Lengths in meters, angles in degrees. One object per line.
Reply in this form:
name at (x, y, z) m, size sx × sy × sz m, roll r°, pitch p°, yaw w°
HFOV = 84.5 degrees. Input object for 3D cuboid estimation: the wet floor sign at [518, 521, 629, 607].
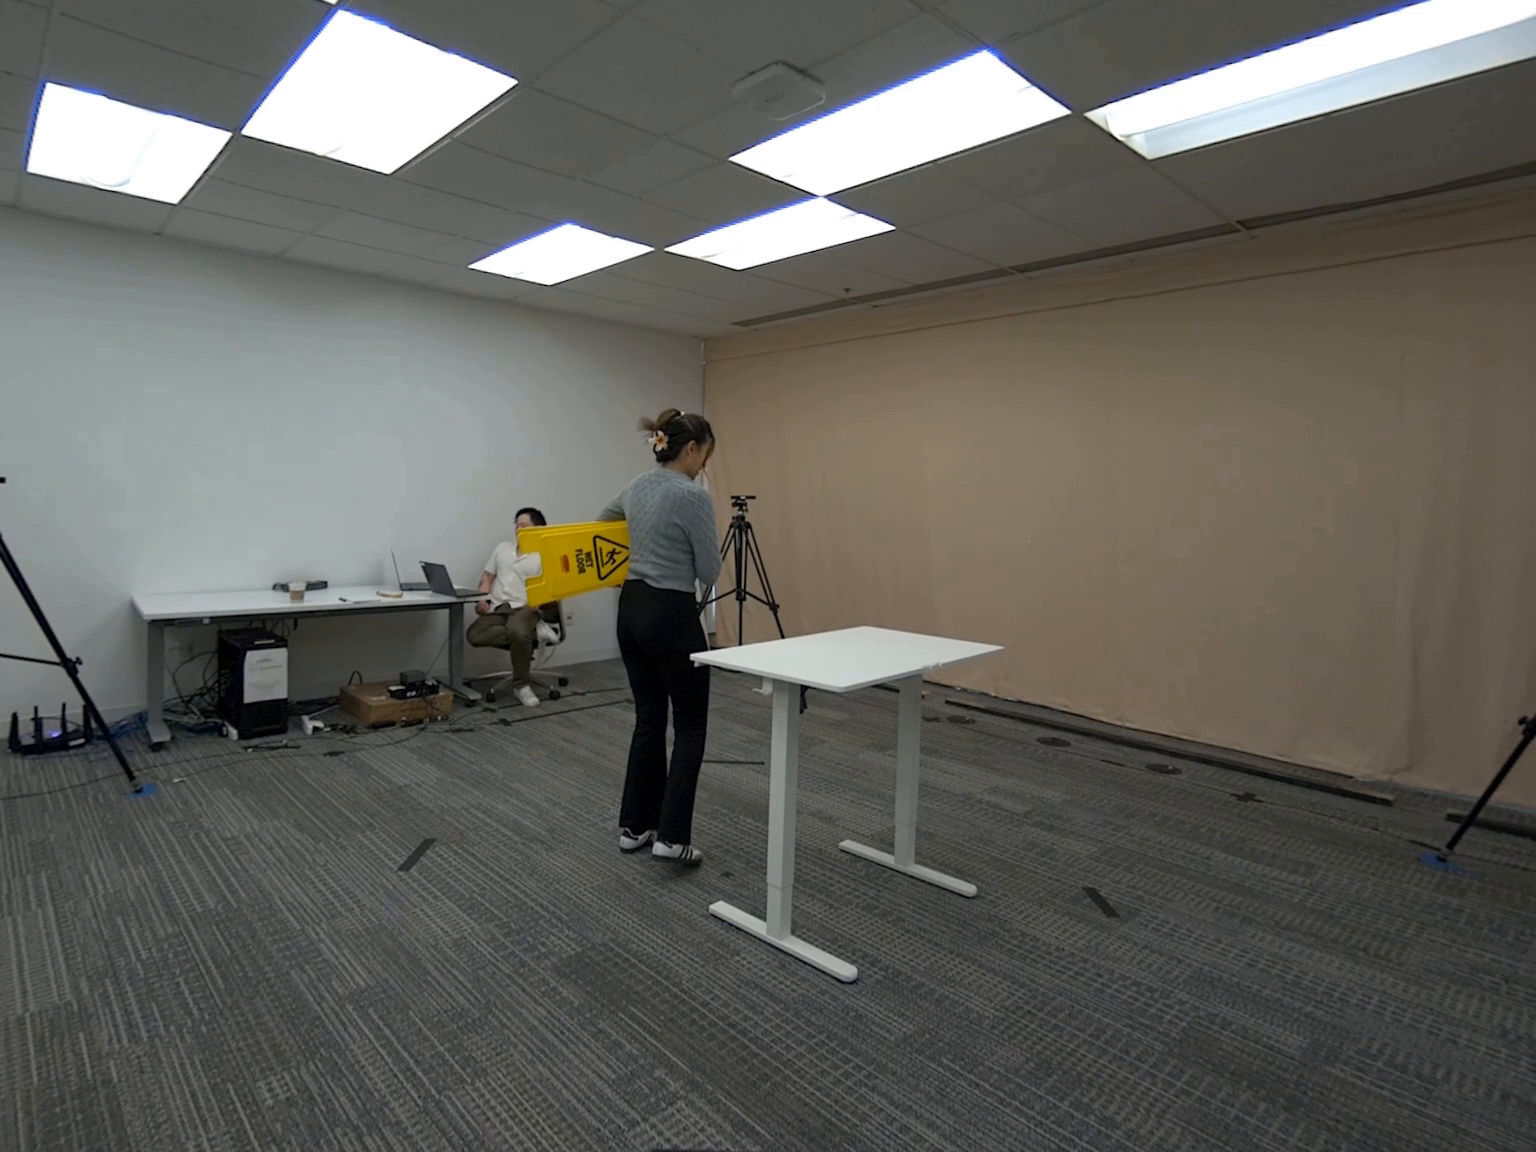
wet floor sign at (-0.656, -0.088, 3.372) m, size 0.641 × 0.281 × 0.293 m, roll -9°, pitch 7°, yaw -11°
